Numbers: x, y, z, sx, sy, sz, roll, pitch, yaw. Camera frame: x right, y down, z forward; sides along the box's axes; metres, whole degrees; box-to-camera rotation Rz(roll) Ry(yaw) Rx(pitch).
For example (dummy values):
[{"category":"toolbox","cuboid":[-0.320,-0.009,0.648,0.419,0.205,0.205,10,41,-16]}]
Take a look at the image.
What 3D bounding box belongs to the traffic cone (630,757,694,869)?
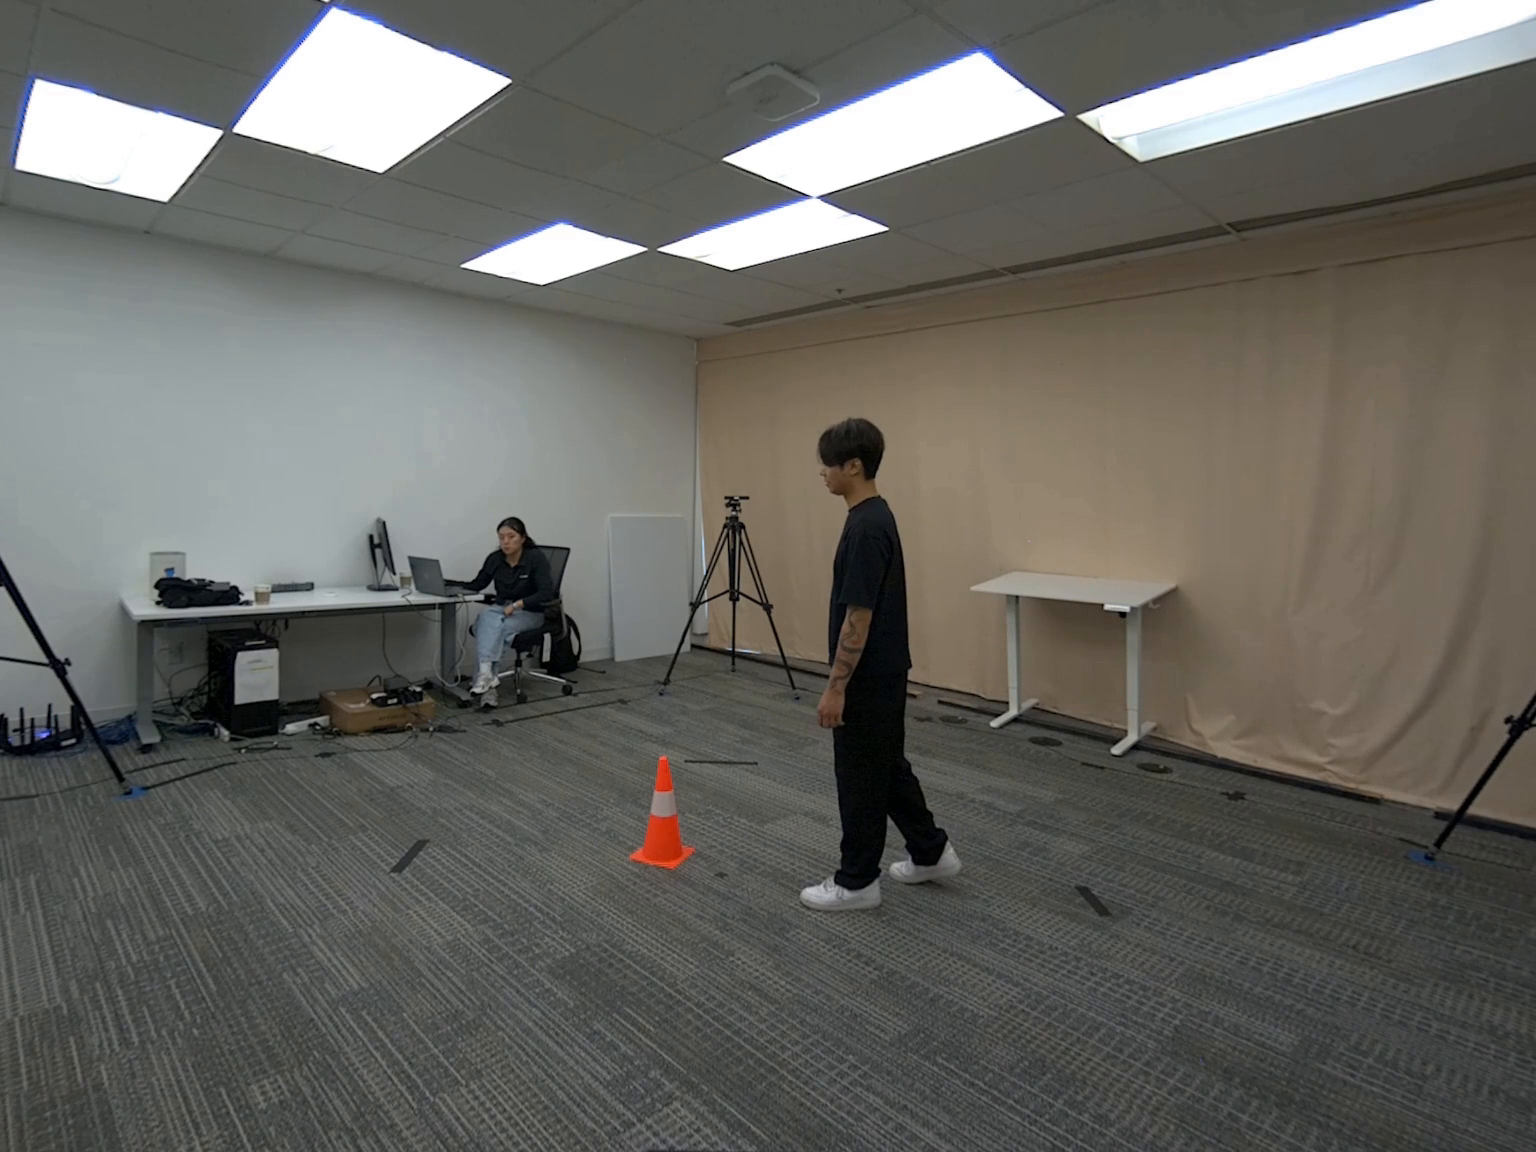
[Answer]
[{"category":"traffic cone","cuboid":[-0.407,0.896,3.269,0.207,0.383,0.201,4,3,25]}]
